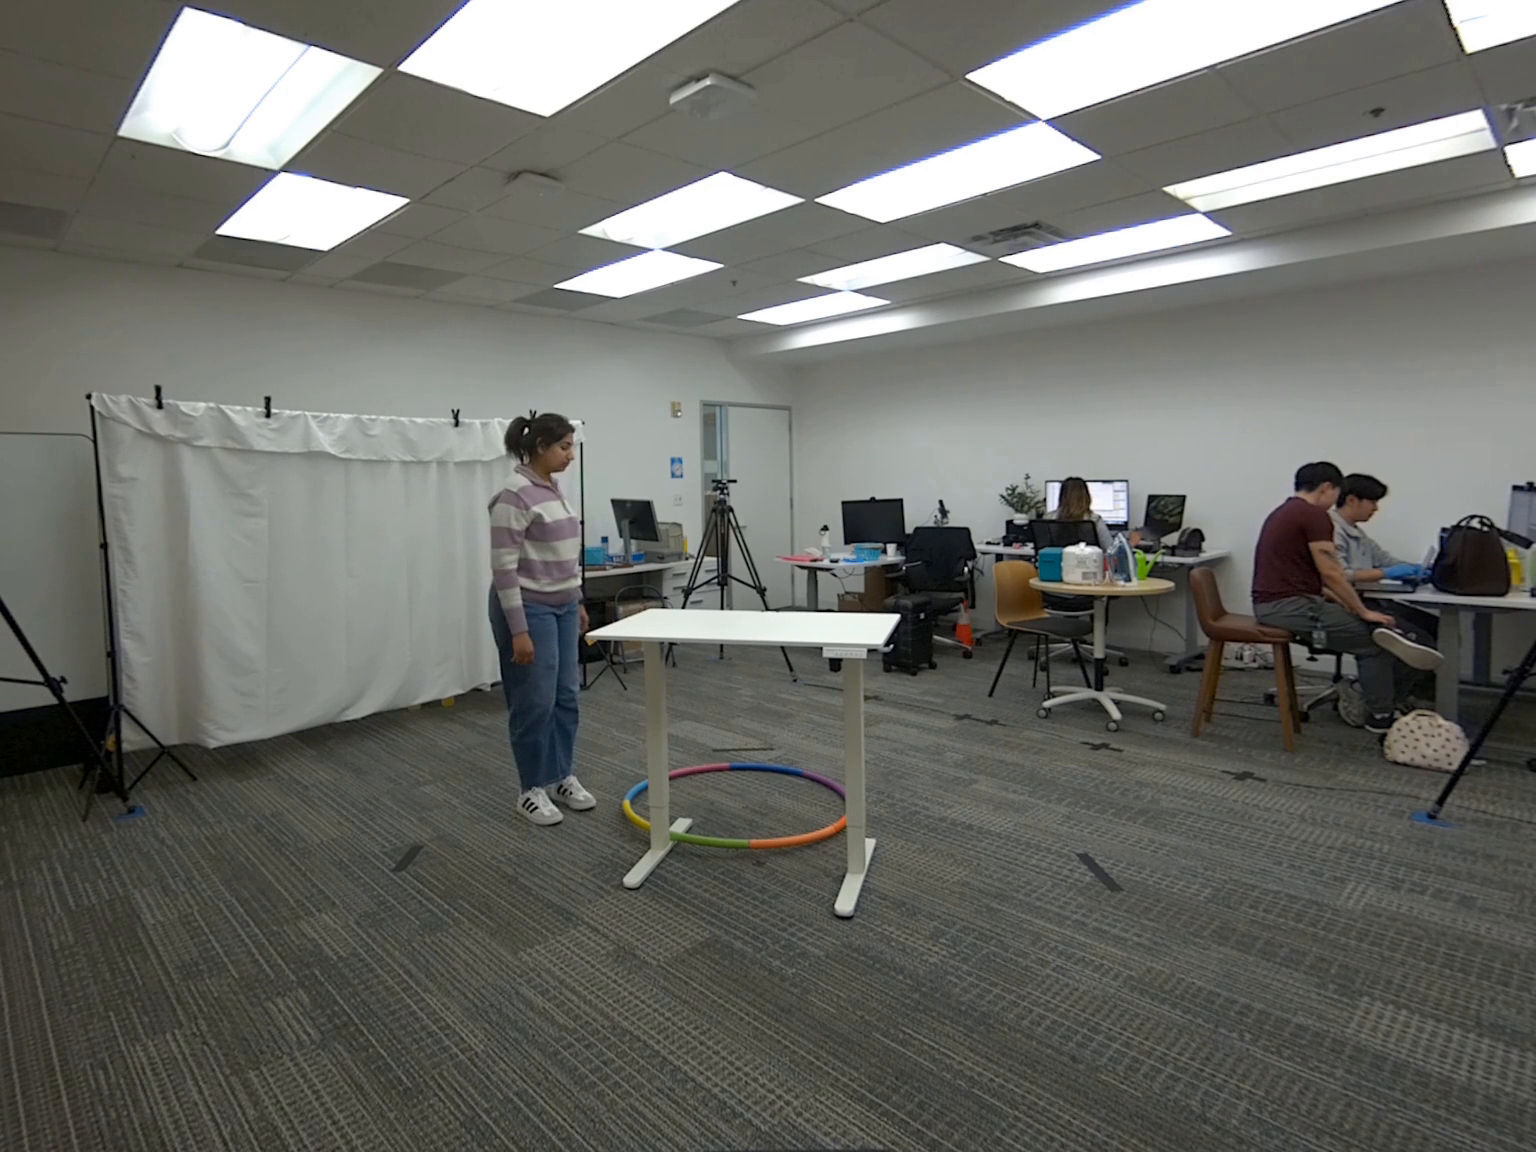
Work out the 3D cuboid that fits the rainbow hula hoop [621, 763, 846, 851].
[{"bbox_3d":[-0.126,0.955,3.661,0.978,0.035,0.983,0,5,-2],"label":"rainbow hula hoop"}]
